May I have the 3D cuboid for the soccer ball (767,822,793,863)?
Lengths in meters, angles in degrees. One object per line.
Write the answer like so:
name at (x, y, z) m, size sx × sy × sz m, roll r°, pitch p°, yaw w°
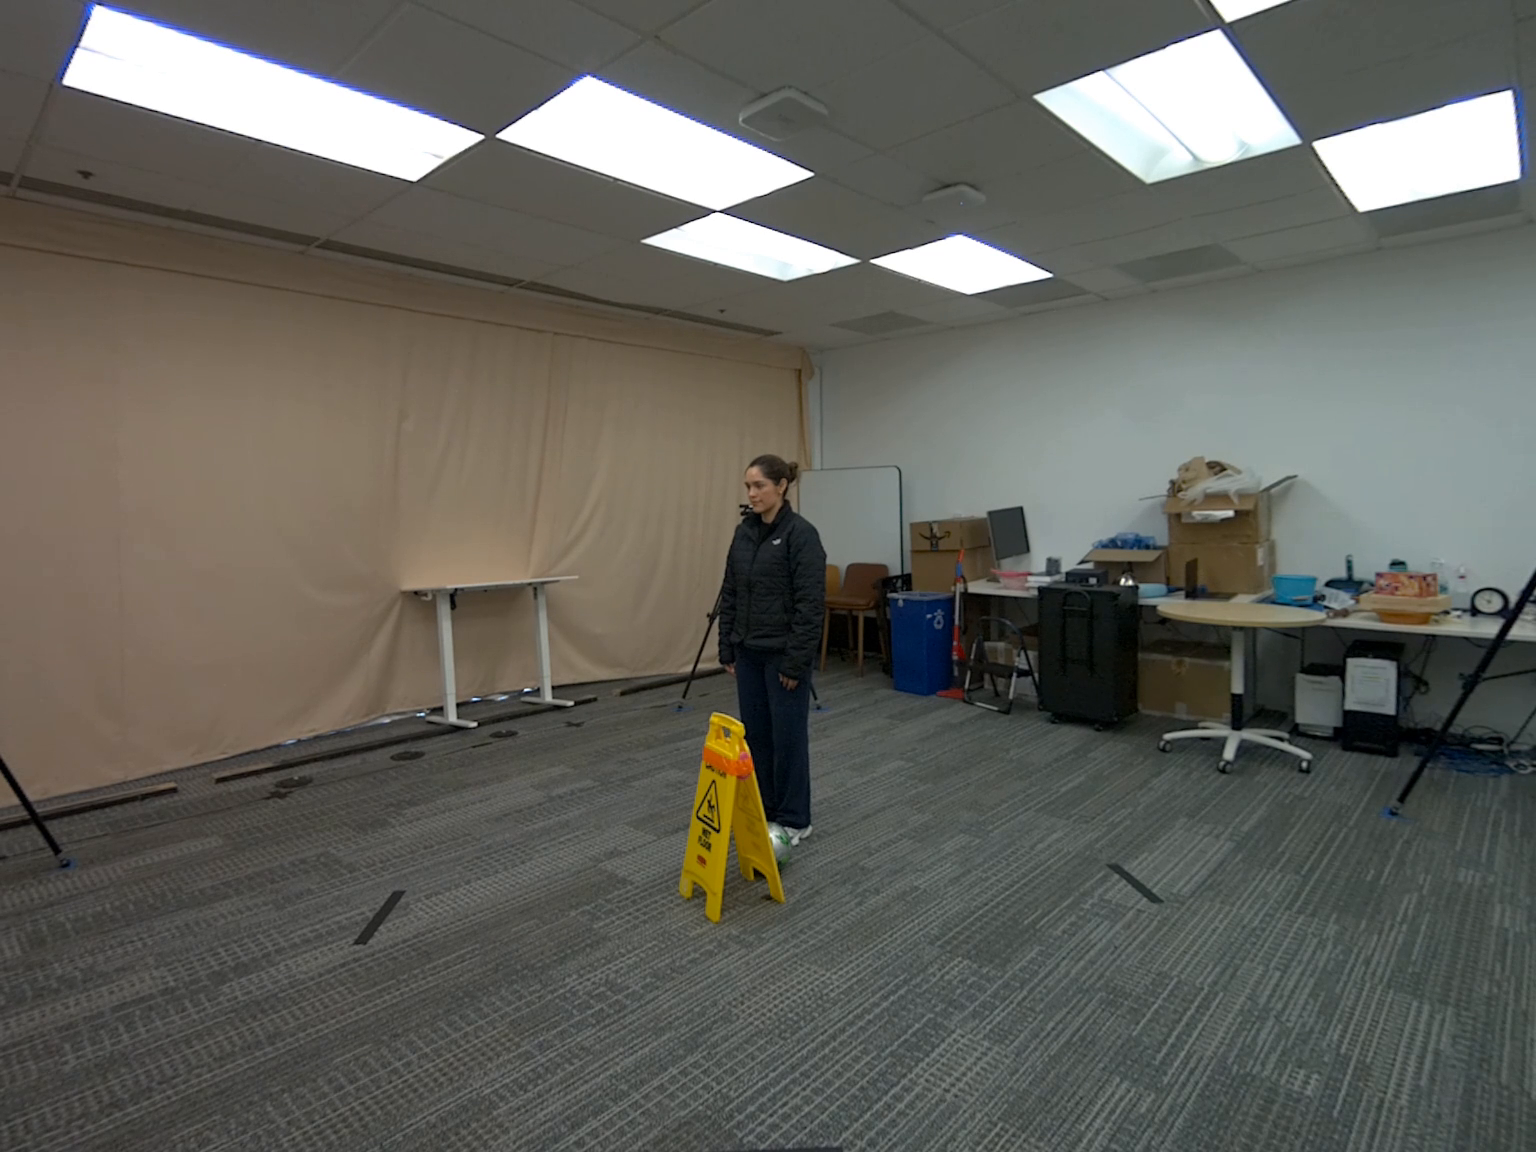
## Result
soccer ball at (0.002, 1.020, 3.196) m, size 0.187 × 0.187 × 0.188 m, roll -1°, pitch 4°, yaw -2°
